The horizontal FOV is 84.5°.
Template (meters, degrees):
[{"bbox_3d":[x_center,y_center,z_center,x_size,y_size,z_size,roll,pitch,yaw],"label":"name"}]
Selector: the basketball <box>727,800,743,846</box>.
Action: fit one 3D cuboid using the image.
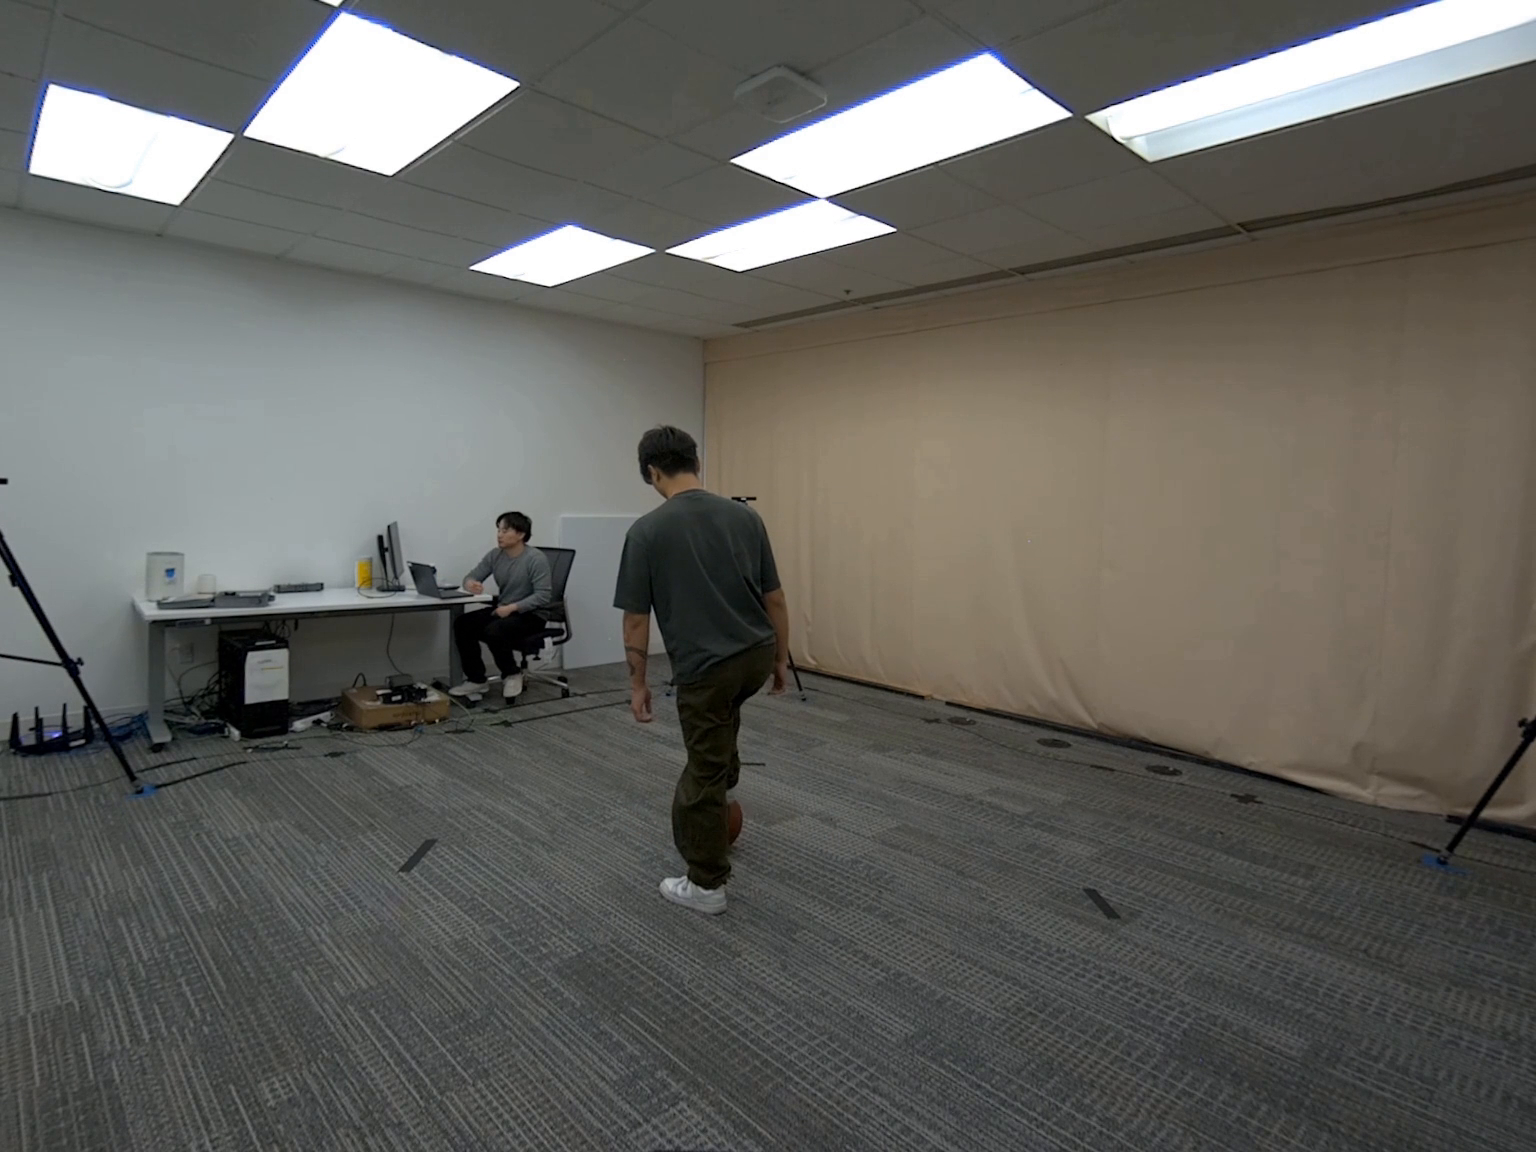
[{"bbox_3d":[-0.227,0.969,3.334,0.236,0.235,0.237,1,4,-1],"label":"basketball"}]
